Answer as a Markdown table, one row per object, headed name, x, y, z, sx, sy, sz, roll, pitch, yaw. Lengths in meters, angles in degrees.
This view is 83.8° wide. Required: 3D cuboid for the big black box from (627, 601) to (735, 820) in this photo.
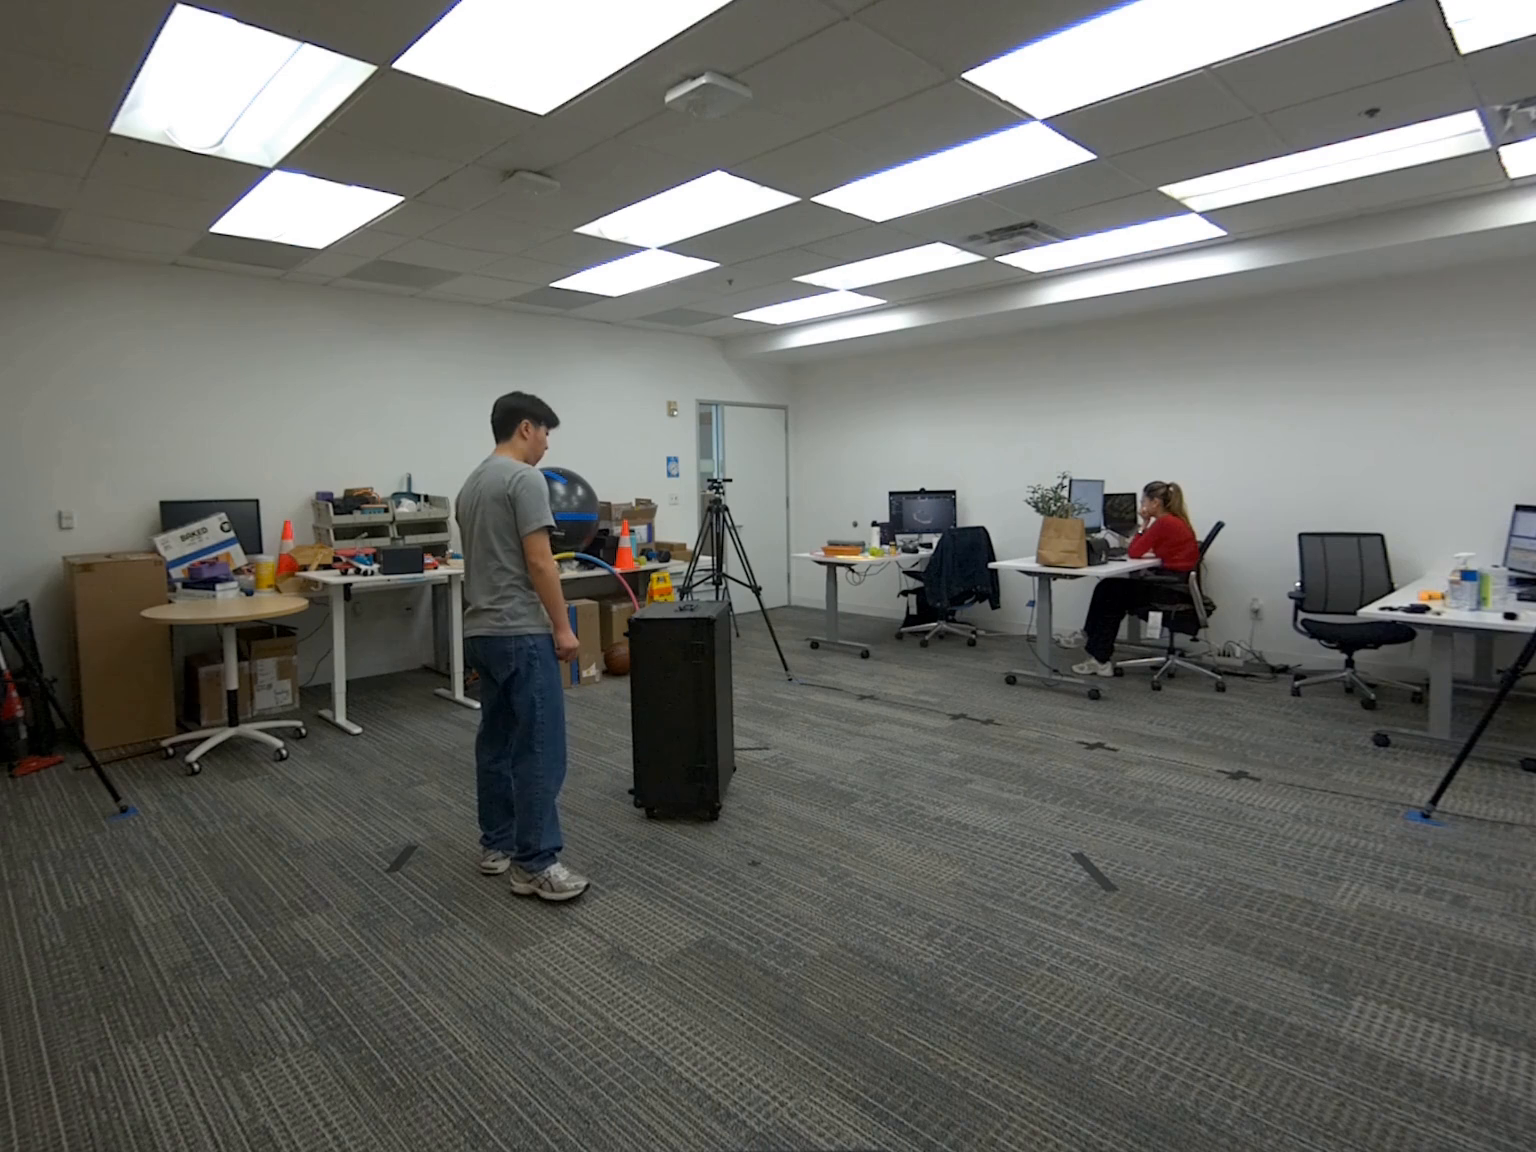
| name | x | y | z | sx | sy | sz | roll | pitch | yaw |
| --- | --- | --- | --- | --- | --- | --- | --- | --- | --- |
| big black box | -0.367 | 0.563 | 3.668 | 0.399 | 0.859 | 0.519 | -1 | 4 | 7 |
